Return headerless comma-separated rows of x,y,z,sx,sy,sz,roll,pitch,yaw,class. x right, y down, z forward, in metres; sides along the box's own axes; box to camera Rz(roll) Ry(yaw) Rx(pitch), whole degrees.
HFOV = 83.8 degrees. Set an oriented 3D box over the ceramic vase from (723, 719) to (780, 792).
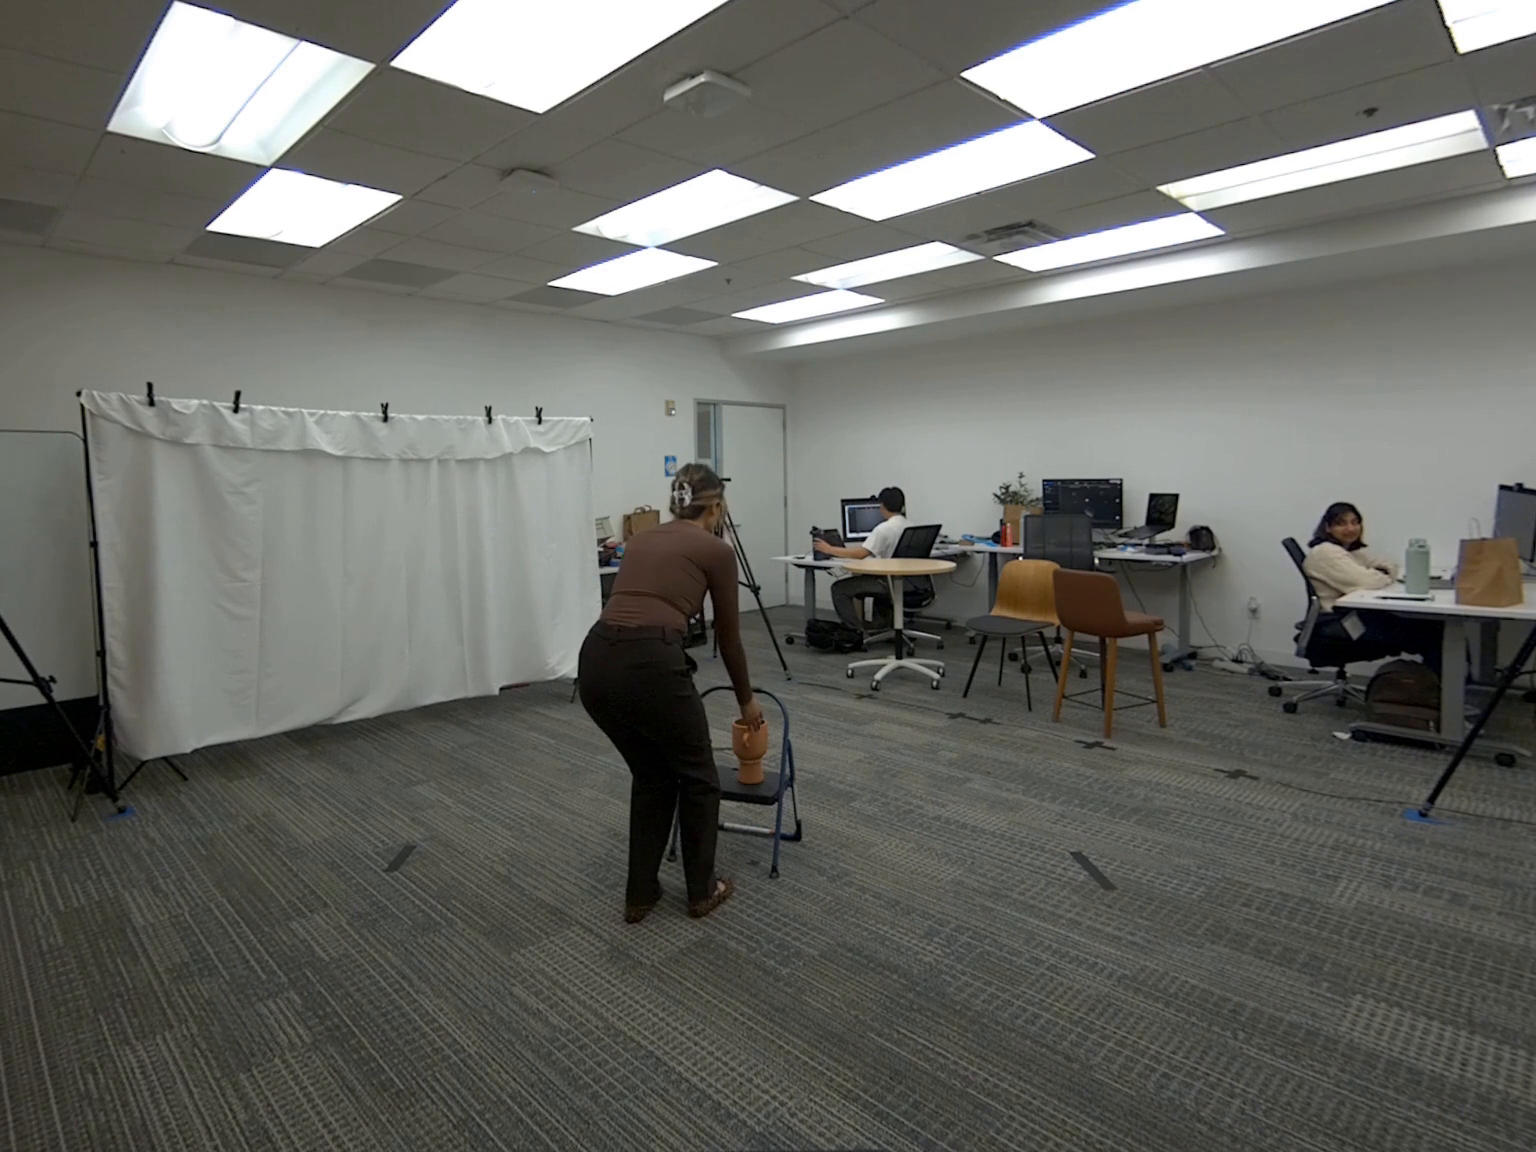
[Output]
-0.064,0.661,3.212,0.155,0.219,0.139,-5,6,-38,ceramic vase
